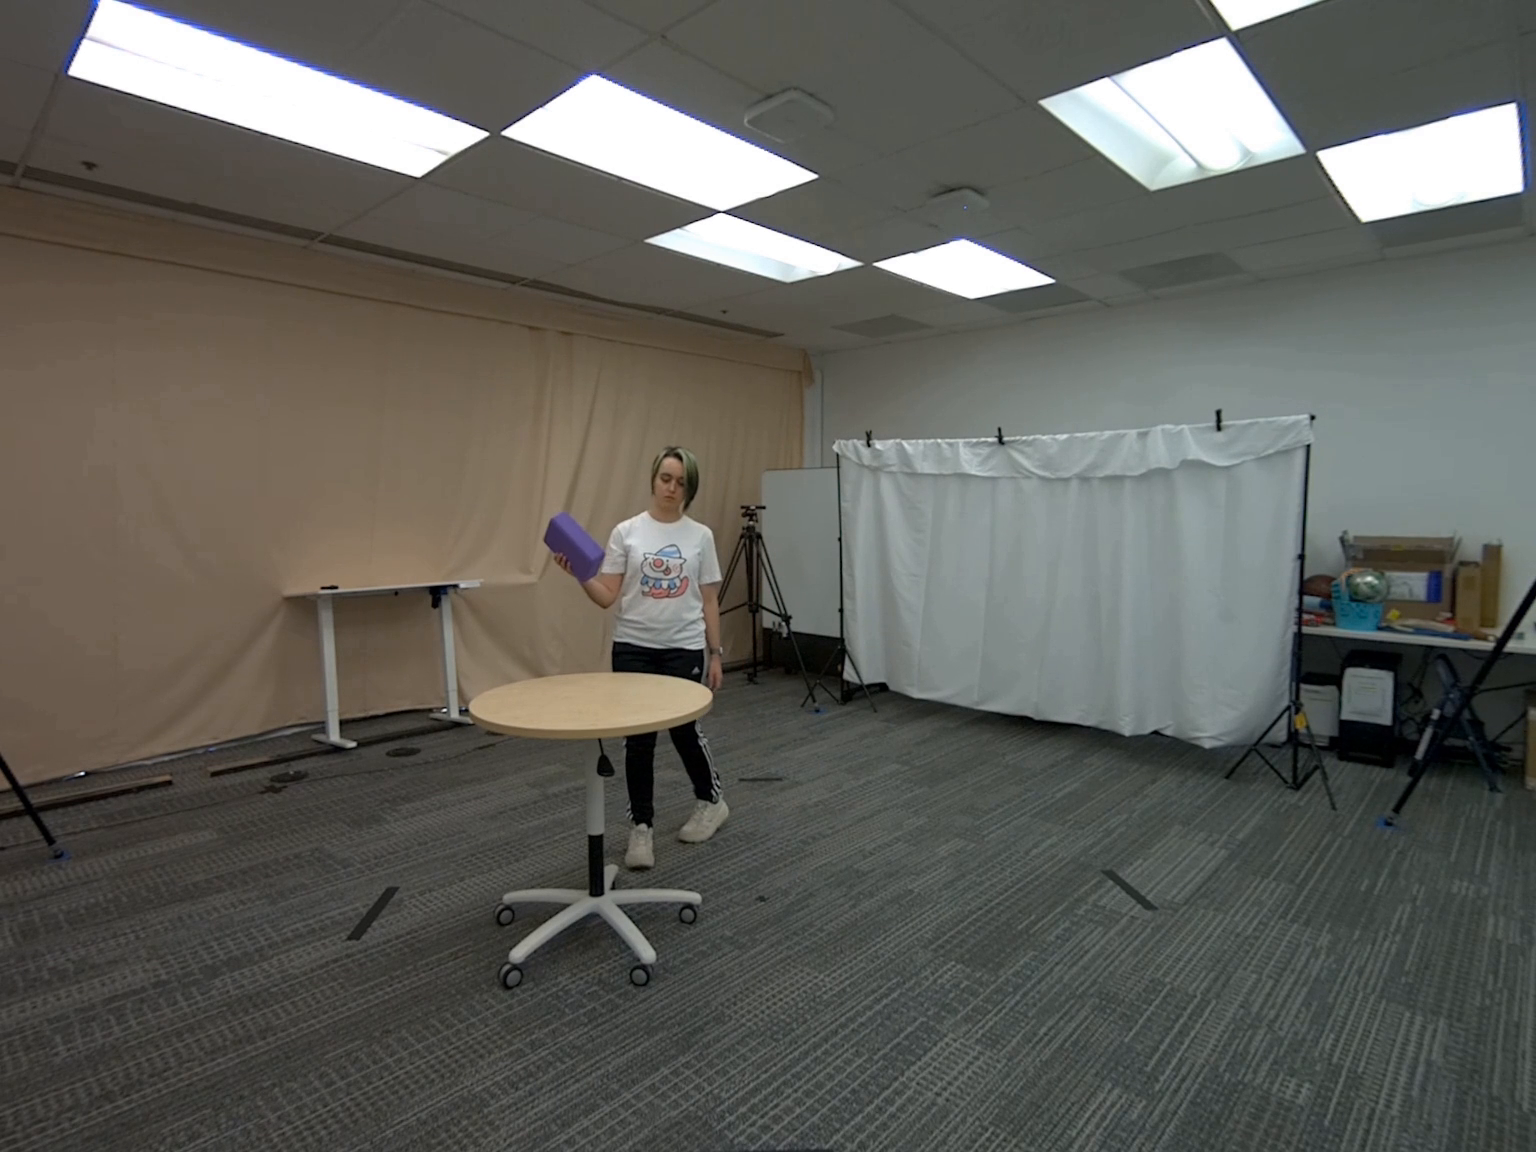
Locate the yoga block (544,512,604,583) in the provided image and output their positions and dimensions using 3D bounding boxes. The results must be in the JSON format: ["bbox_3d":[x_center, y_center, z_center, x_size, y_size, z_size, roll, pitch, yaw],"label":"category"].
[{"bbox_3d":[-0.697,-0.105,3.042,0.075,0.232,0.149,-36,-14,-40],"label":"yoga block"}]
